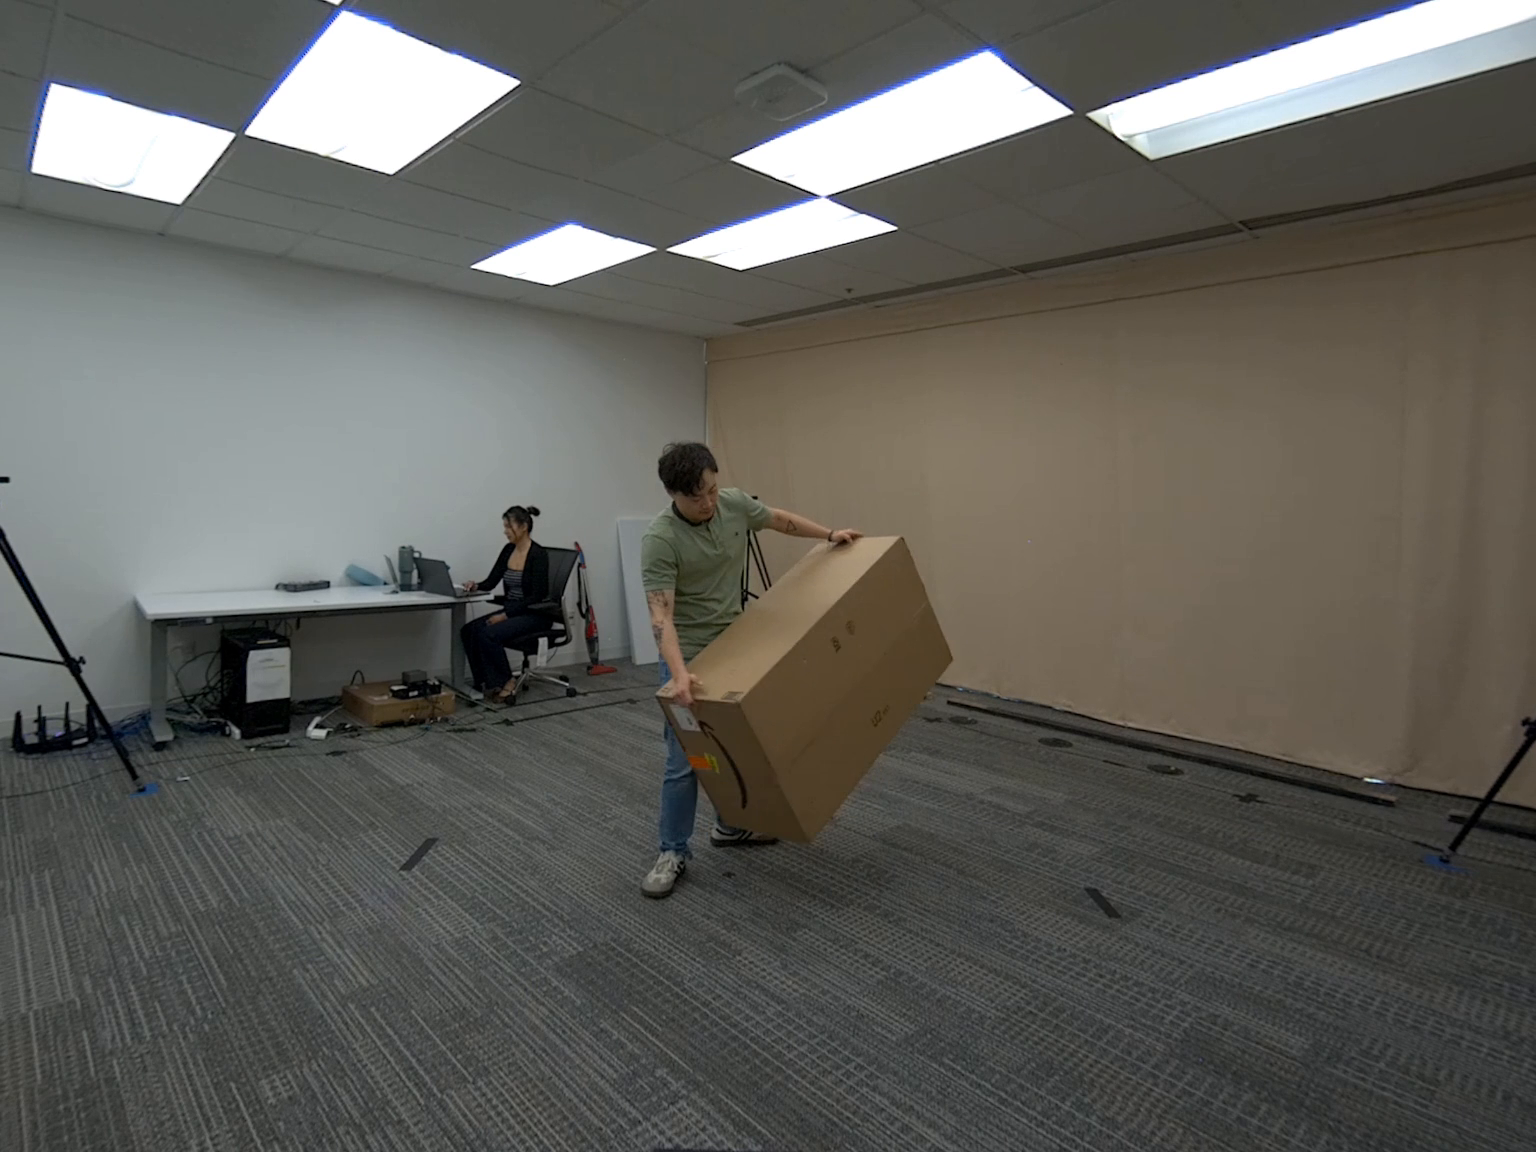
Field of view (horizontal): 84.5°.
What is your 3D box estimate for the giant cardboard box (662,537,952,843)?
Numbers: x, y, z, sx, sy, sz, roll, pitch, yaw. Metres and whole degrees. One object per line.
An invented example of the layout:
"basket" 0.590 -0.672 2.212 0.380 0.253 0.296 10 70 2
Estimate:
"giant cardboard box" 0.165 0.367 3.087 0.435 0.567 1.022 -6 28 46
